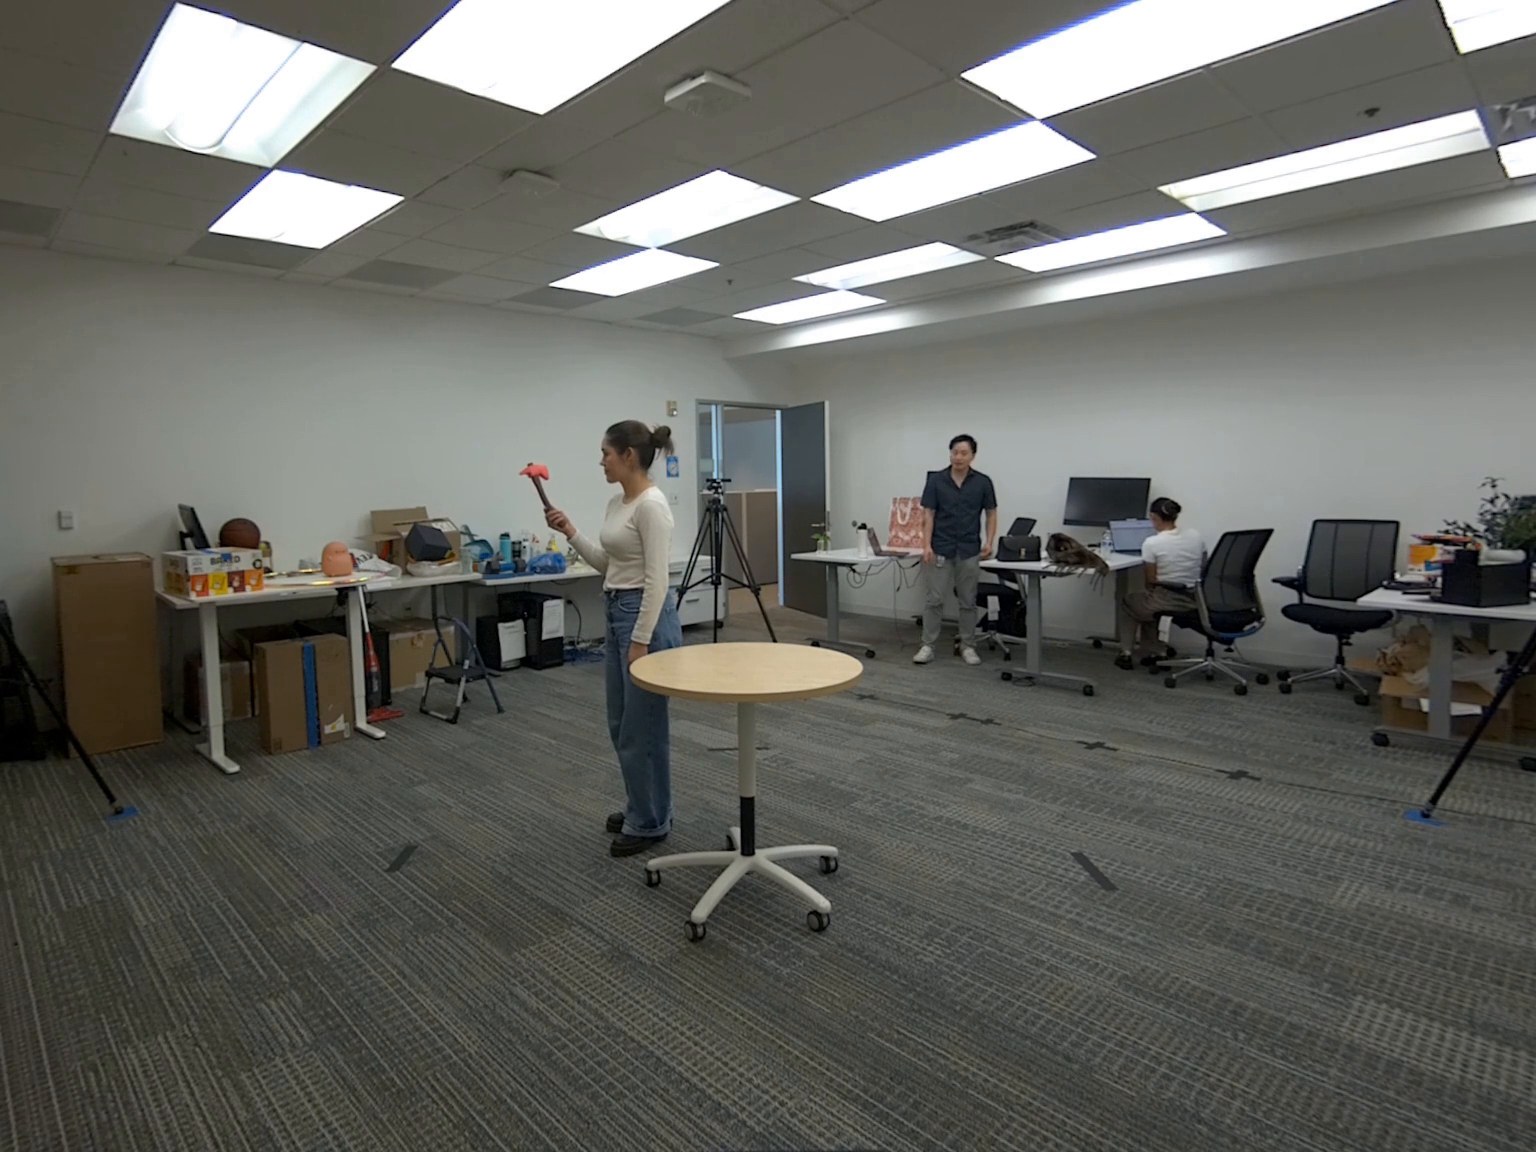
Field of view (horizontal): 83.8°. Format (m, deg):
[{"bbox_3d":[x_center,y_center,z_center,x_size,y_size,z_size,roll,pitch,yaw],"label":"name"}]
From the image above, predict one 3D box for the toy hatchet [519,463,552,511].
[{"bbox_3d":[-0.849,-0.328,3.319,0.030,0.264,0.132,-22,21,38],"label":"toy hatchet"}]
